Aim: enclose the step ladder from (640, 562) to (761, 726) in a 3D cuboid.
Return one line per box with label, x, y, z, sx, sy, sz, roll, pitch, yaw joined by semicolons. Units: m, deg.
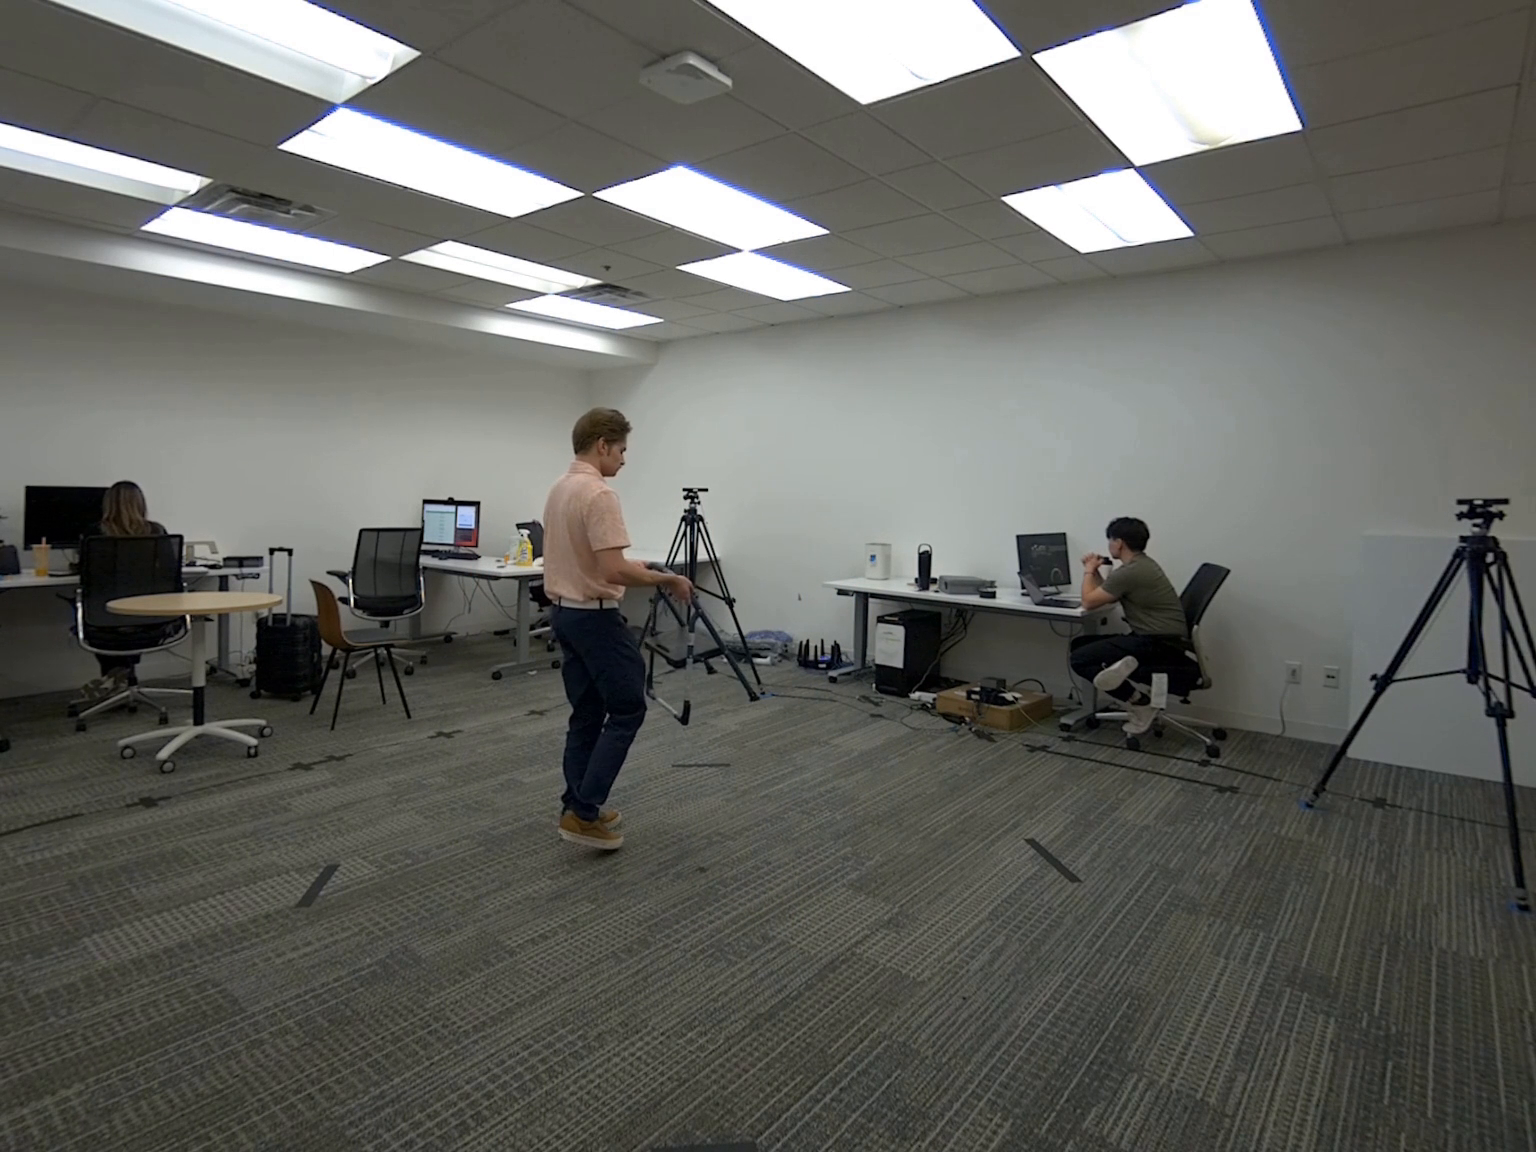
step ladder;-0.345;0.228;3.512;0.343;0.597;0.445;-17;16;-26
